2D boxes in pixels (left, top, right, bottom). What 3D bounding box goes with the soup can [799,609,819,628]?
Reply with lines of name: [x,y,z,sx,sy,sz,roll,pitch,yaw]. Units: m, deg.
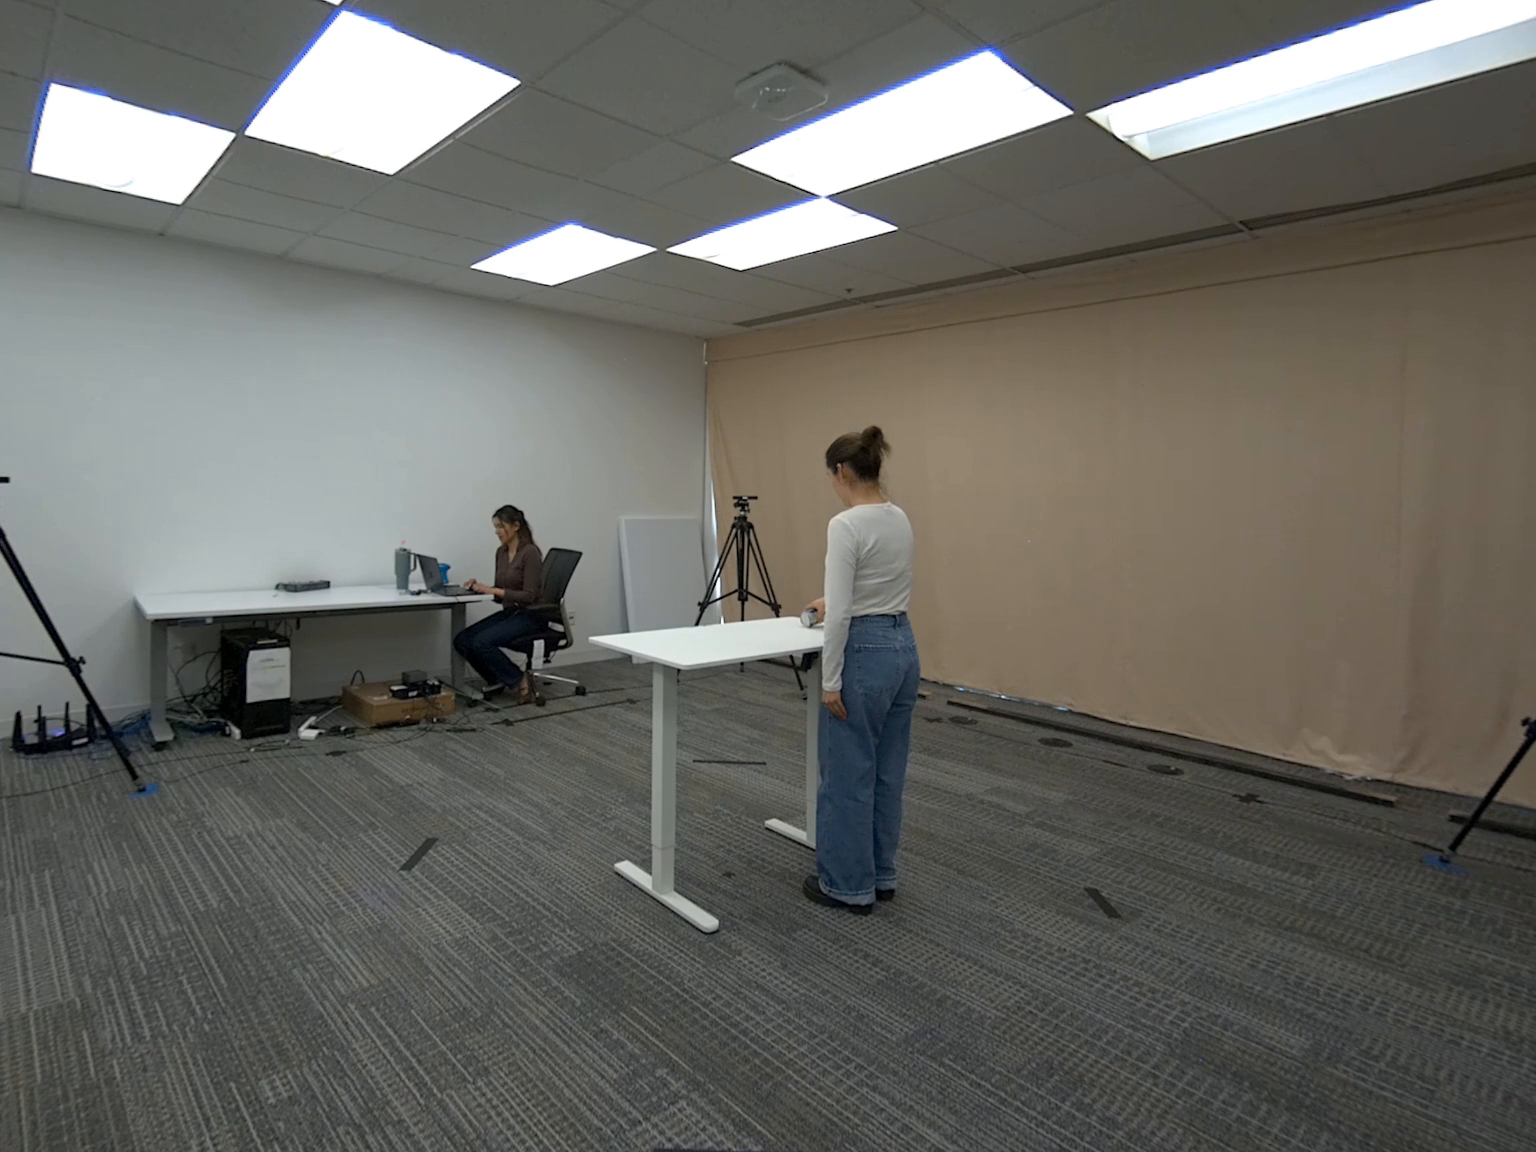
soup can: [0.153,0.163,3.352,0.068,0.066,0.120,3,12,20]
